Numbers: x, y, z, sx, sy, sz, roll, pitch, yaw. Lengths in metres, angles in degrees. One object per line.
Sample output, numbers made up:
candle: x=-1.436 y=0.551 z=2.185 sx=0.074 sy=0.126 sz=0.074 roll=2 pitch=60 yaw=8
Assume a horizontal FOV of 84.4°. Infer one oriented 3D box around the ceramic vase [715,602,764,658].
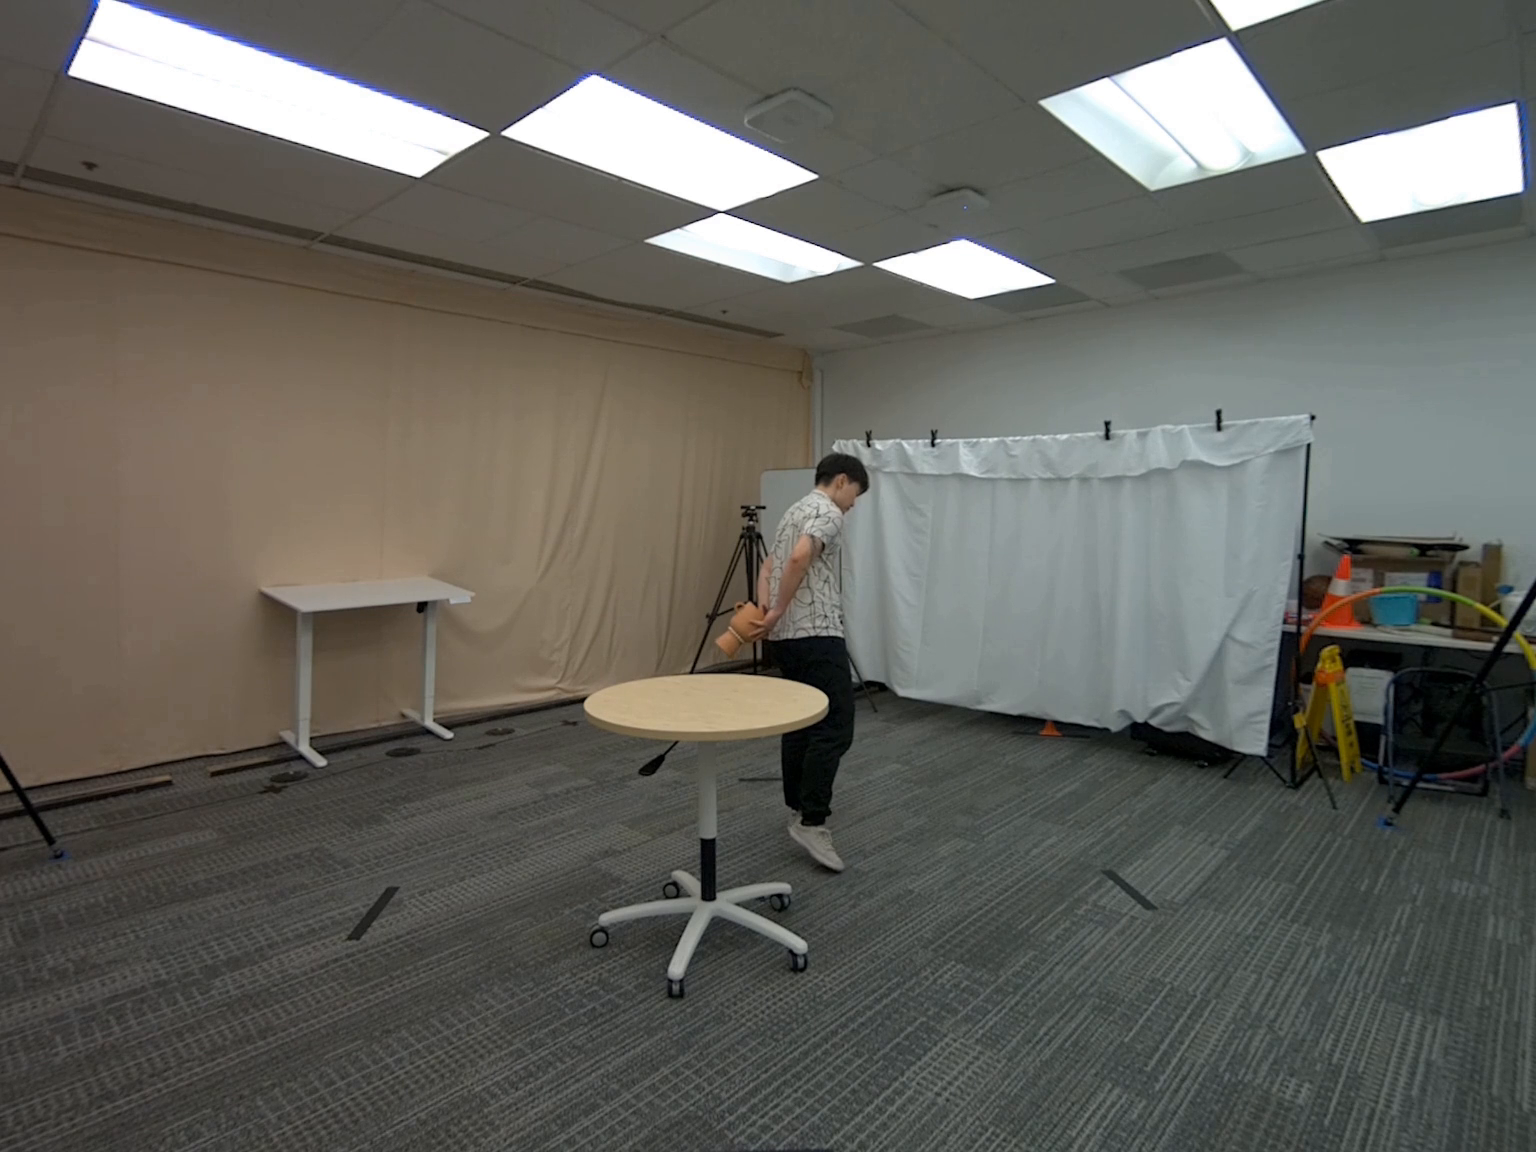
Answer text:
ceramic vase: x=-0.107 y=0.227 z=3.498 sx=0.163 sy=0.219 sz=0.131 roll=43 pitch=-7 yaw=23
